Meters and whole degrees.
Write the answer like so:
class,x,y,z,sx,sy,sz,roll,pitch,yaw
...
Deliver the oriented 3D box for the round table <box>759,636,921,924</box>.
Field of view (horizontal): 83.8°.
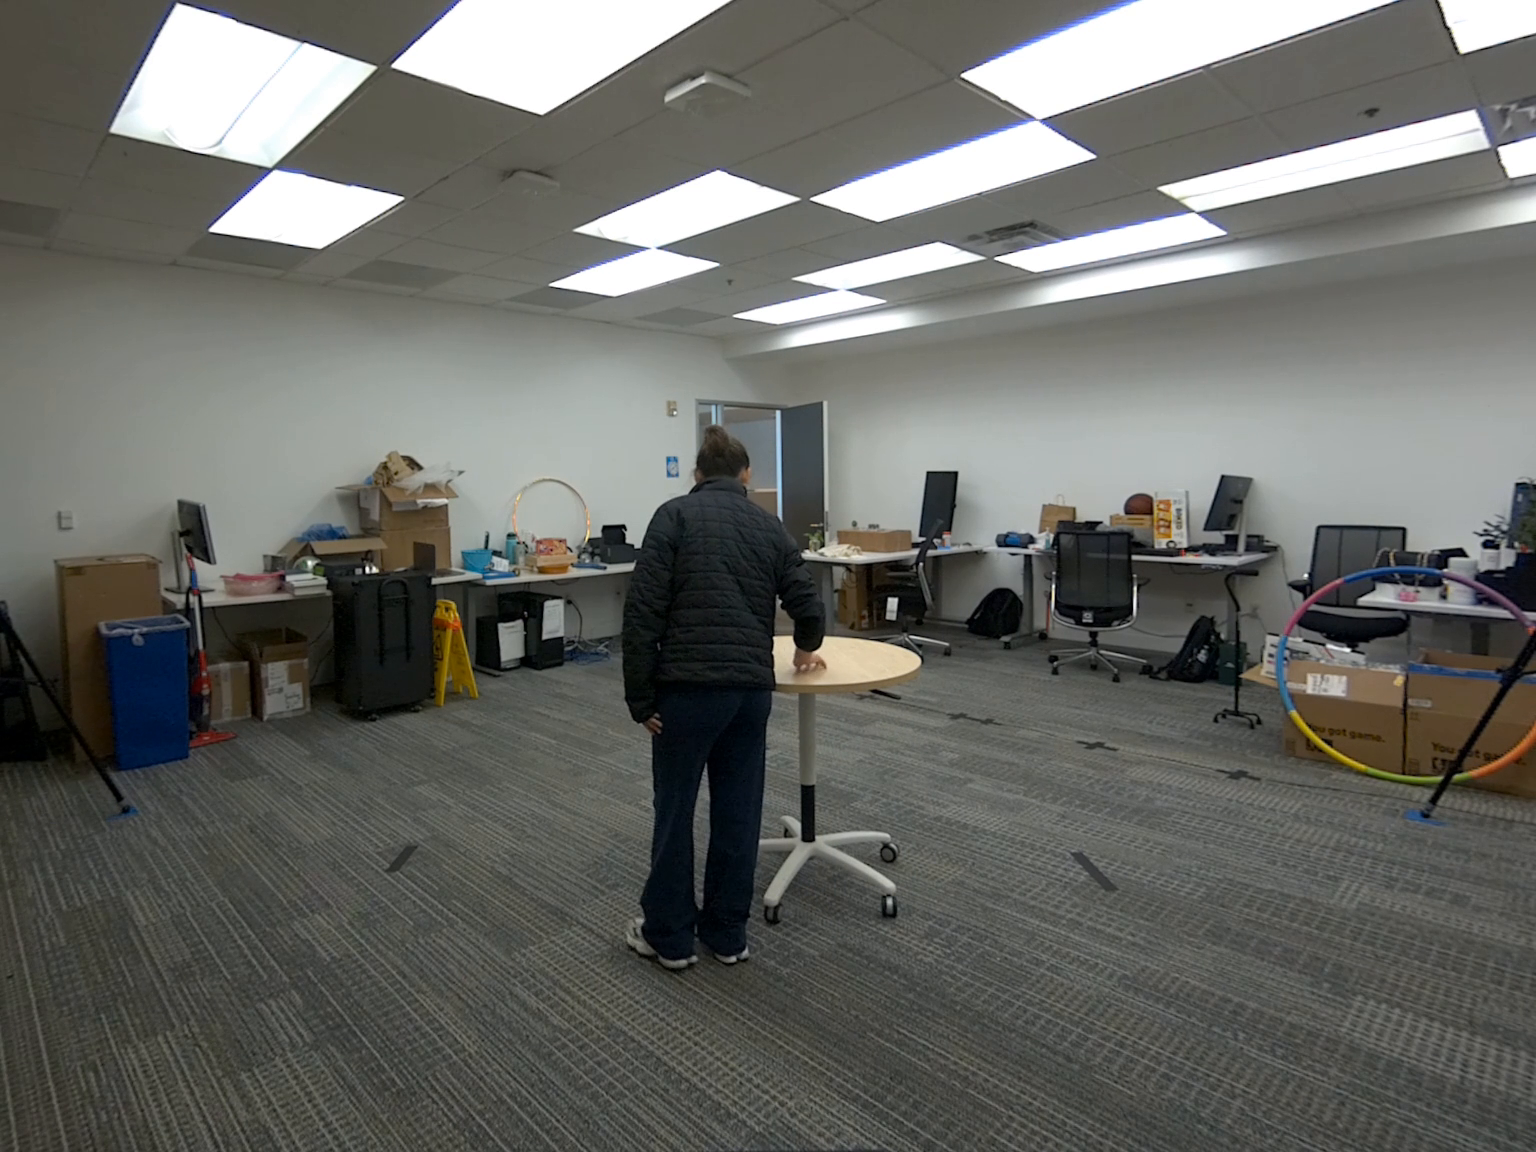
class,x,y,z,sx,sy,sz,roll,pitch,yaw
round table,0.130,0.665,2.955,0.784,0.783,0.789,-1,5,-2
